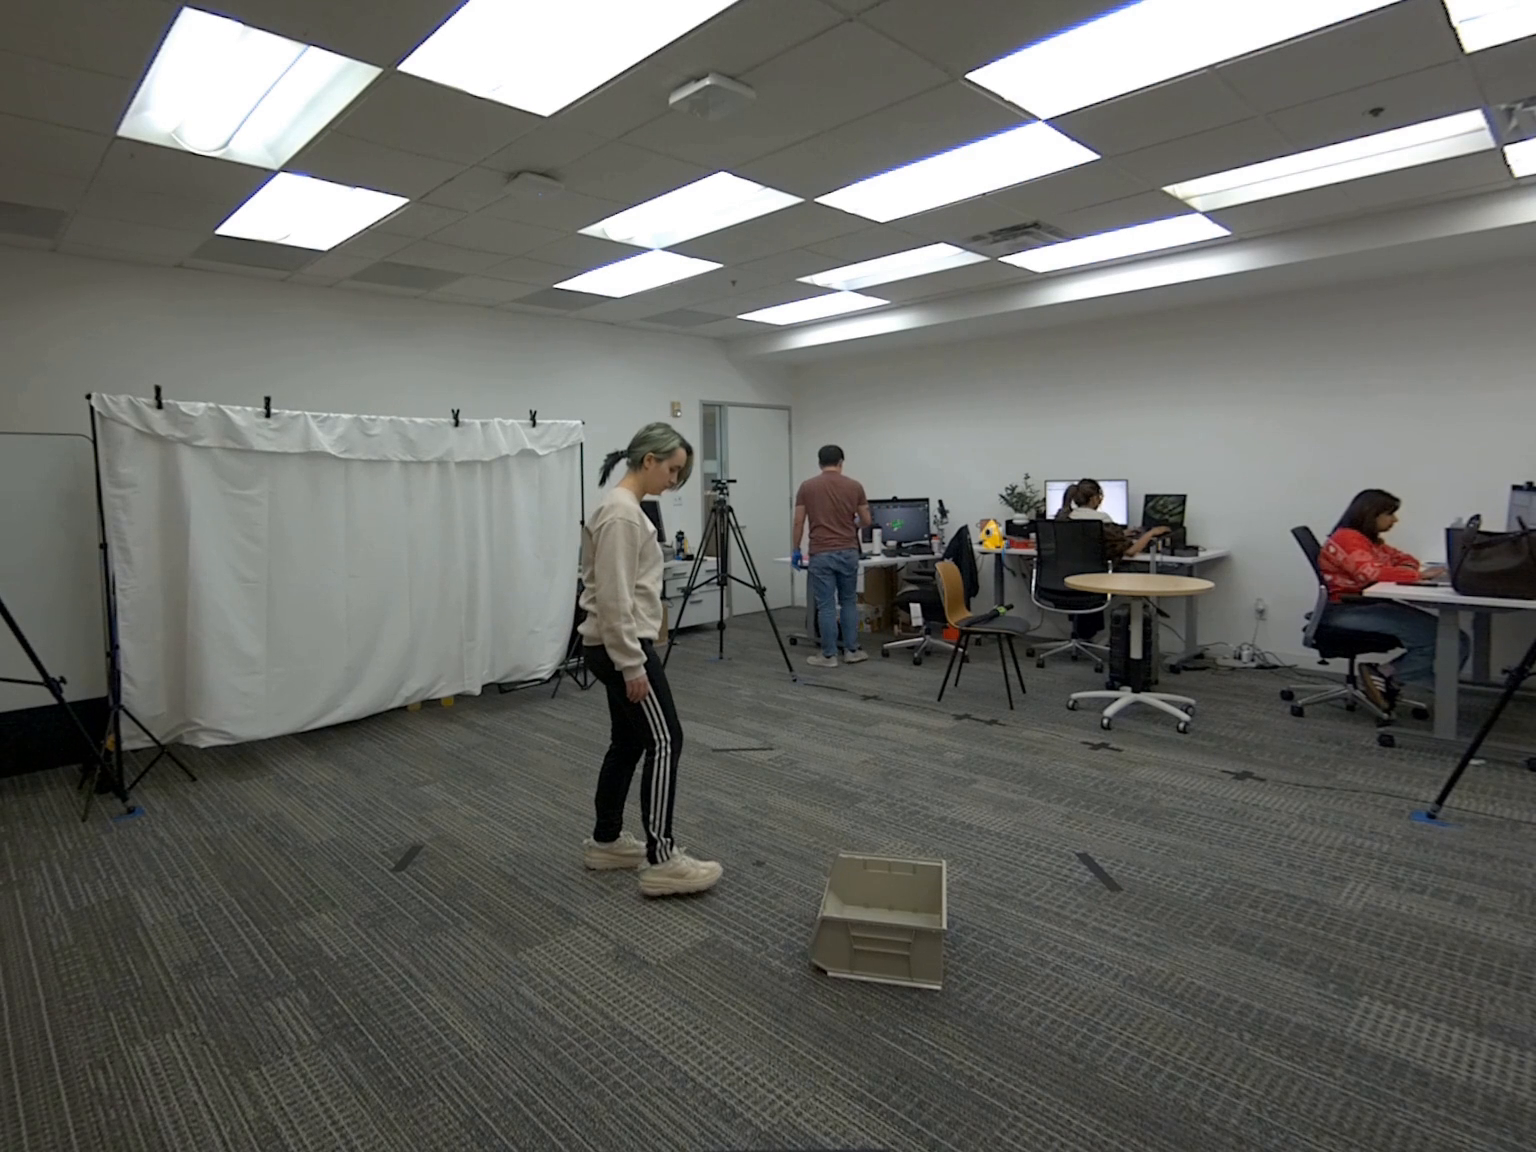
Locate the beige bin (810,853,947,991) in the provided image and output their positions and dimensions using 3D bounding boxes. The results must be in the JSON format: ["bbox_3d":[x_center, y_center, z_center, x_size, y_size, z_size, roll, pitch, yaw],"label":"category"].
[{"bbox_3d":[0.348,1.017,2.550,0.382,0.188,0.419,1,6,12],"label":"beige bin"}]
